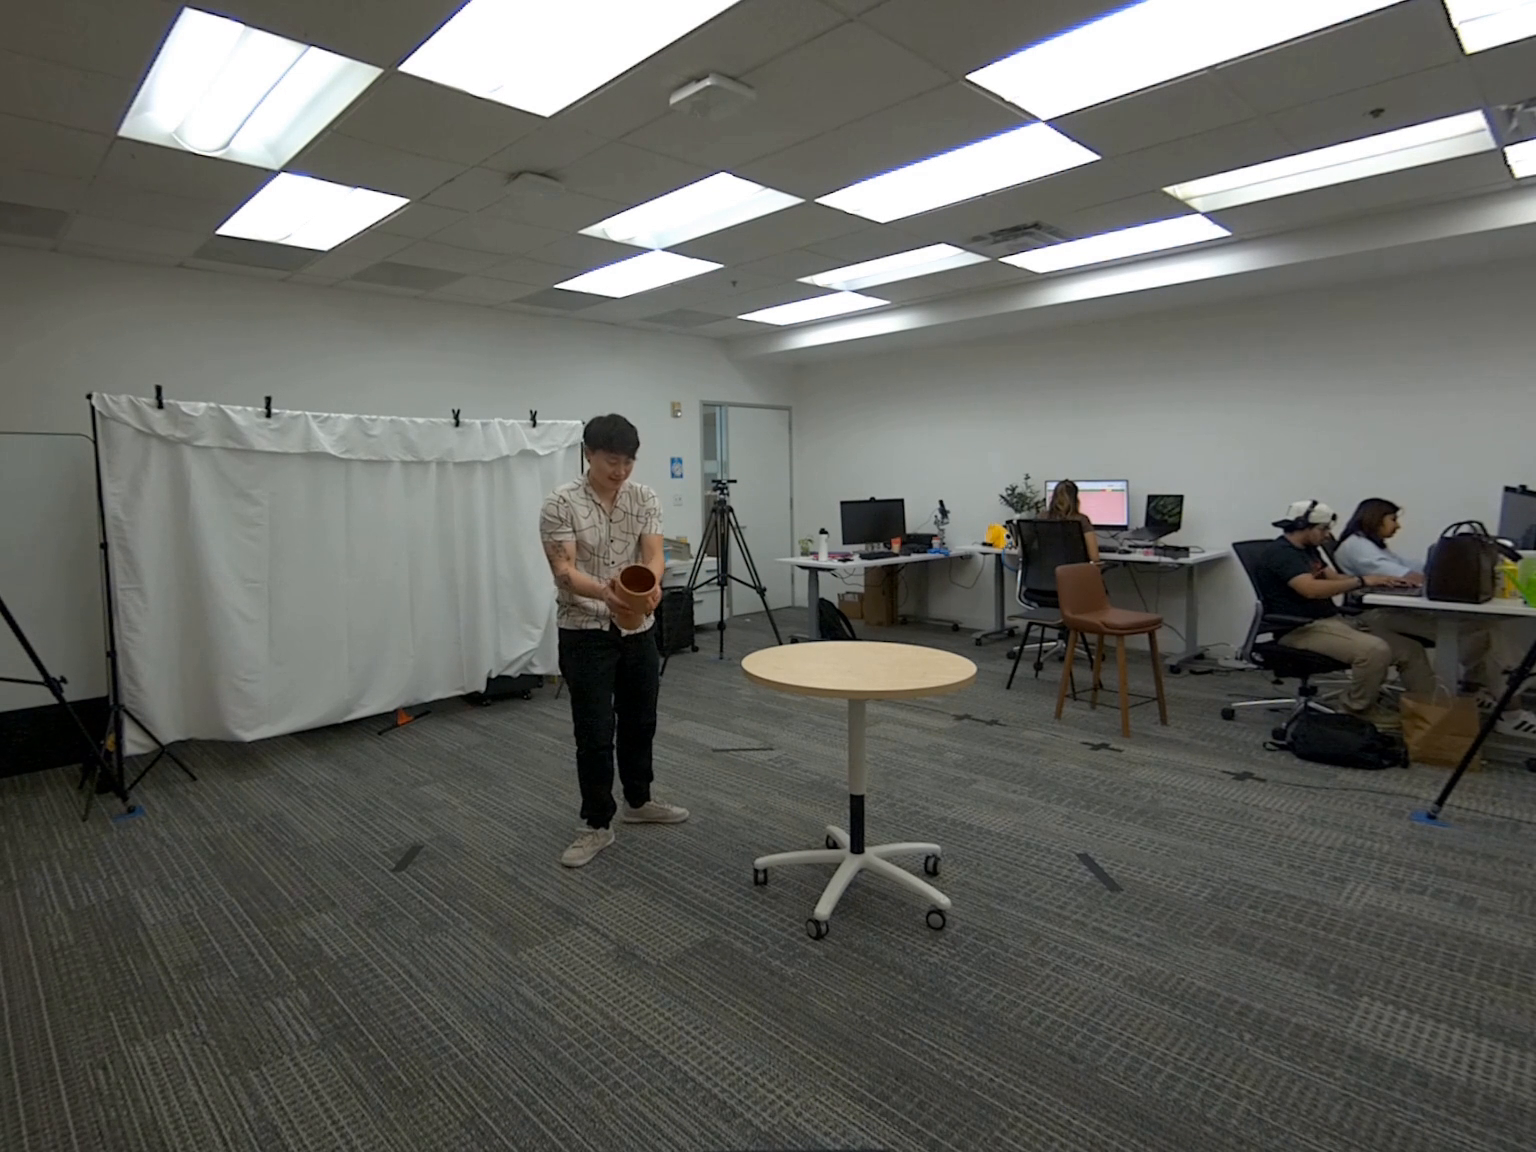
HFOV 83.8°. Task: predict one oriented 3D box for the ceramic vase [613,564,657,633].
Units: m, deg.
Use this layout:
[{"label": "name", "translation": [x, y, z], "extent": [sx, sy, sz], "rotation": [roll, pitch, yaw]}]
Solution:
[{"label": "ceramic vase", "translation": [-0.442, 0.083, 2.876], "extent": [0.133, 0.163, 0.216], "rotation": [8, -43, -9]}]
